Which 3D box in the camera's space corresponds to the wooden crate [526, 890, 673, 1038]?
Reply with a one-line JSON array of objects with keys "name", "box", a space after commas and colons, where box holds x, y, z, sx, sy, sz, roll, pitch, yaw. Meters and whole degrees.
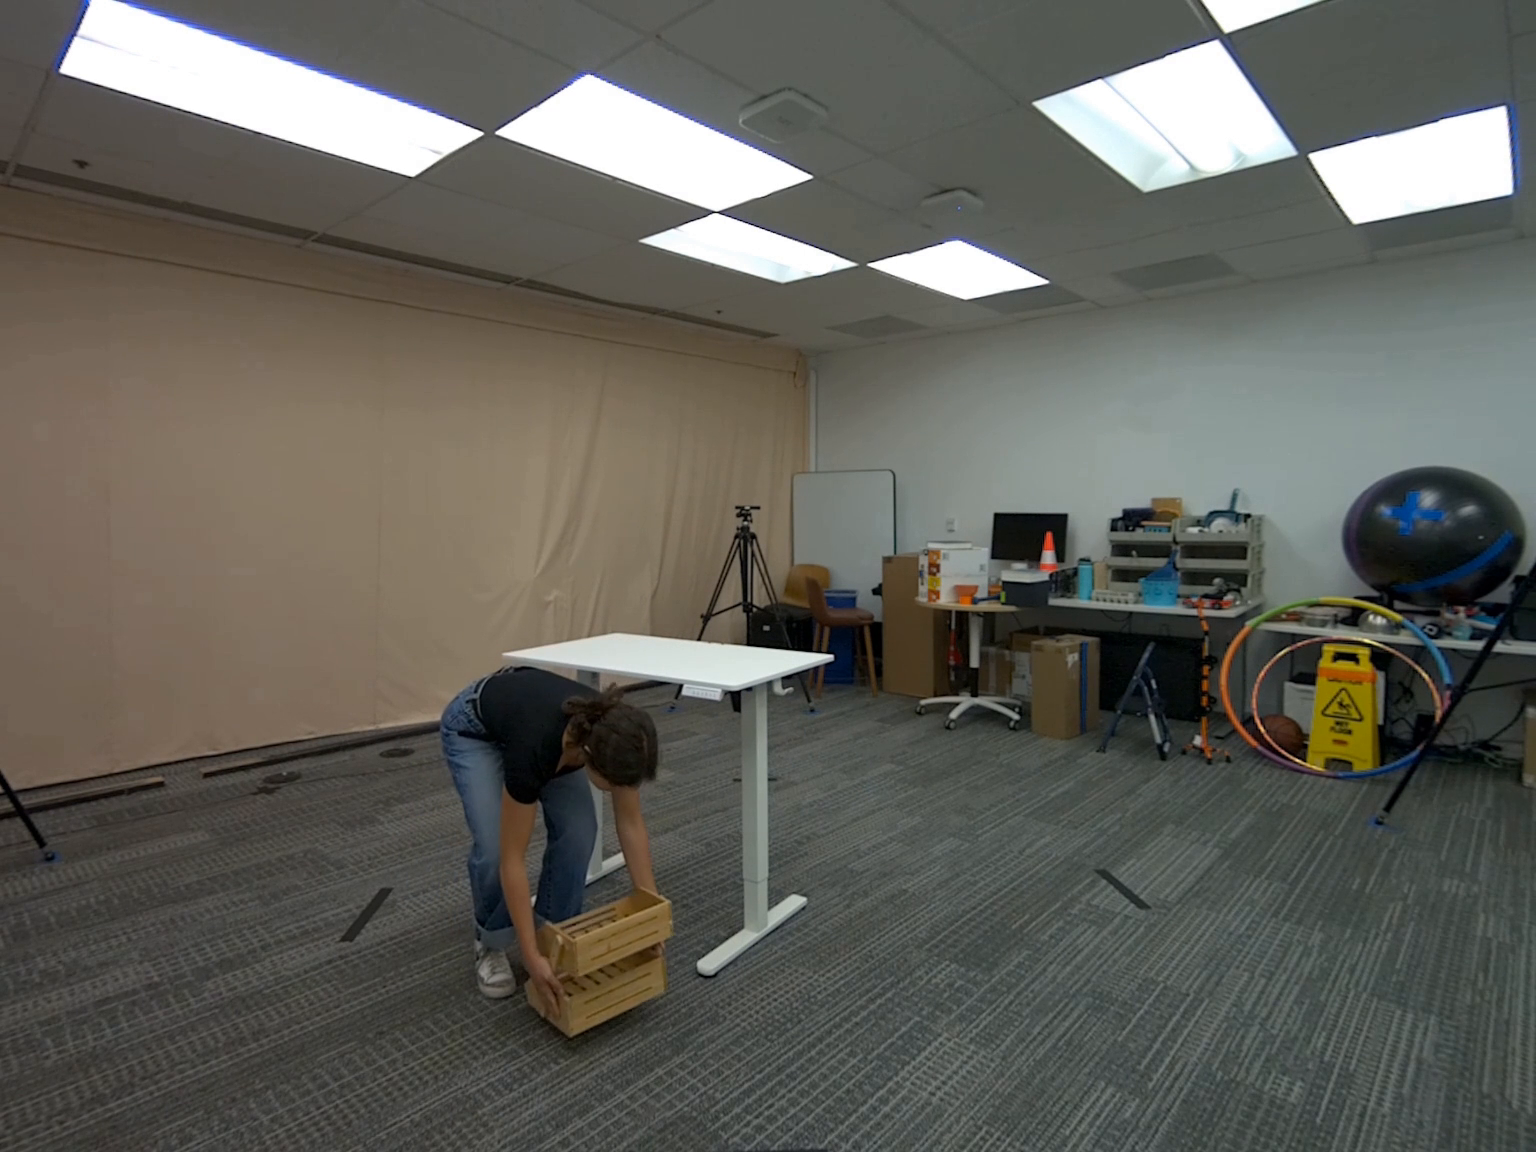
[{"name": "wooden crate", "box": [-0.458, 1.011, 2.267, 0.315, 0.273, 0.311, -6, 2, -42]}]
